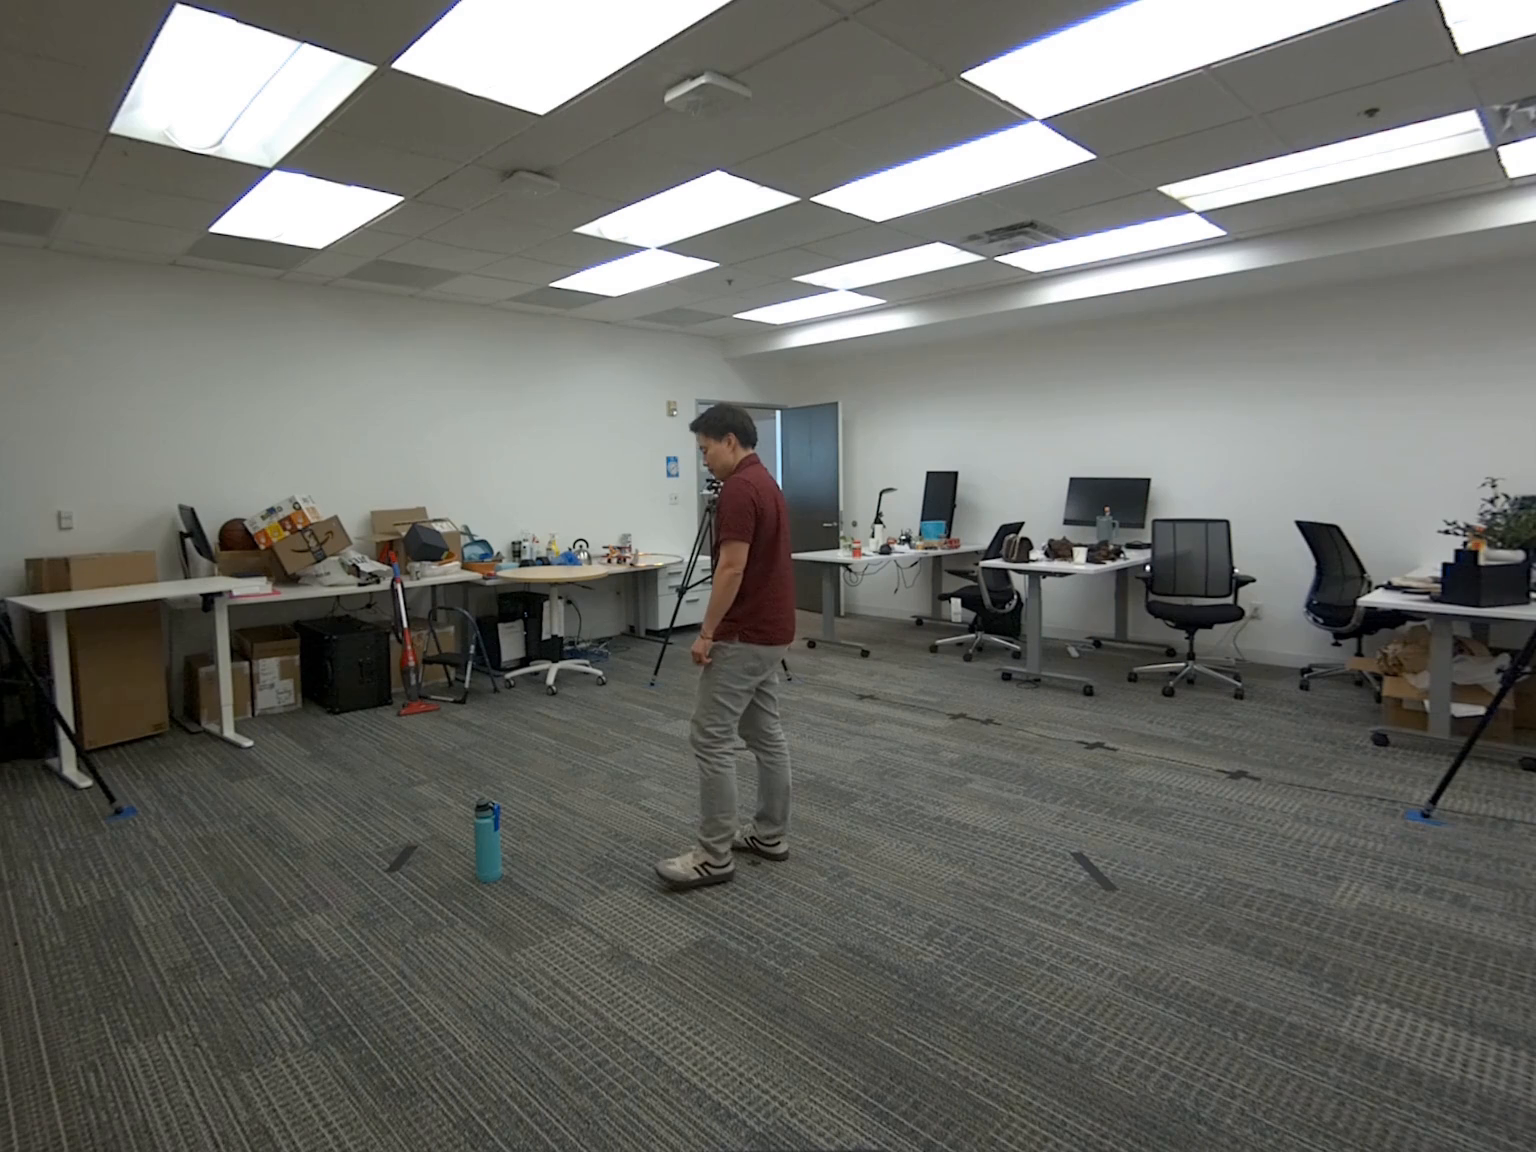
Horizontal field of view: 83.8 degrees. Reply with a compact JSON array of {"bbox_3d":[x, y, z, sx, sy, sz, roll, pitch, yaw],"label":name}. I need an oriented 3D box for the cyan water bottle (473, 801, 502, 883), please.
[{"bbox_3d":[-0.990,0.933,3.030,0.092,0.282,0.093,-1,4,-2],"label":"cyan water bottle"}]
